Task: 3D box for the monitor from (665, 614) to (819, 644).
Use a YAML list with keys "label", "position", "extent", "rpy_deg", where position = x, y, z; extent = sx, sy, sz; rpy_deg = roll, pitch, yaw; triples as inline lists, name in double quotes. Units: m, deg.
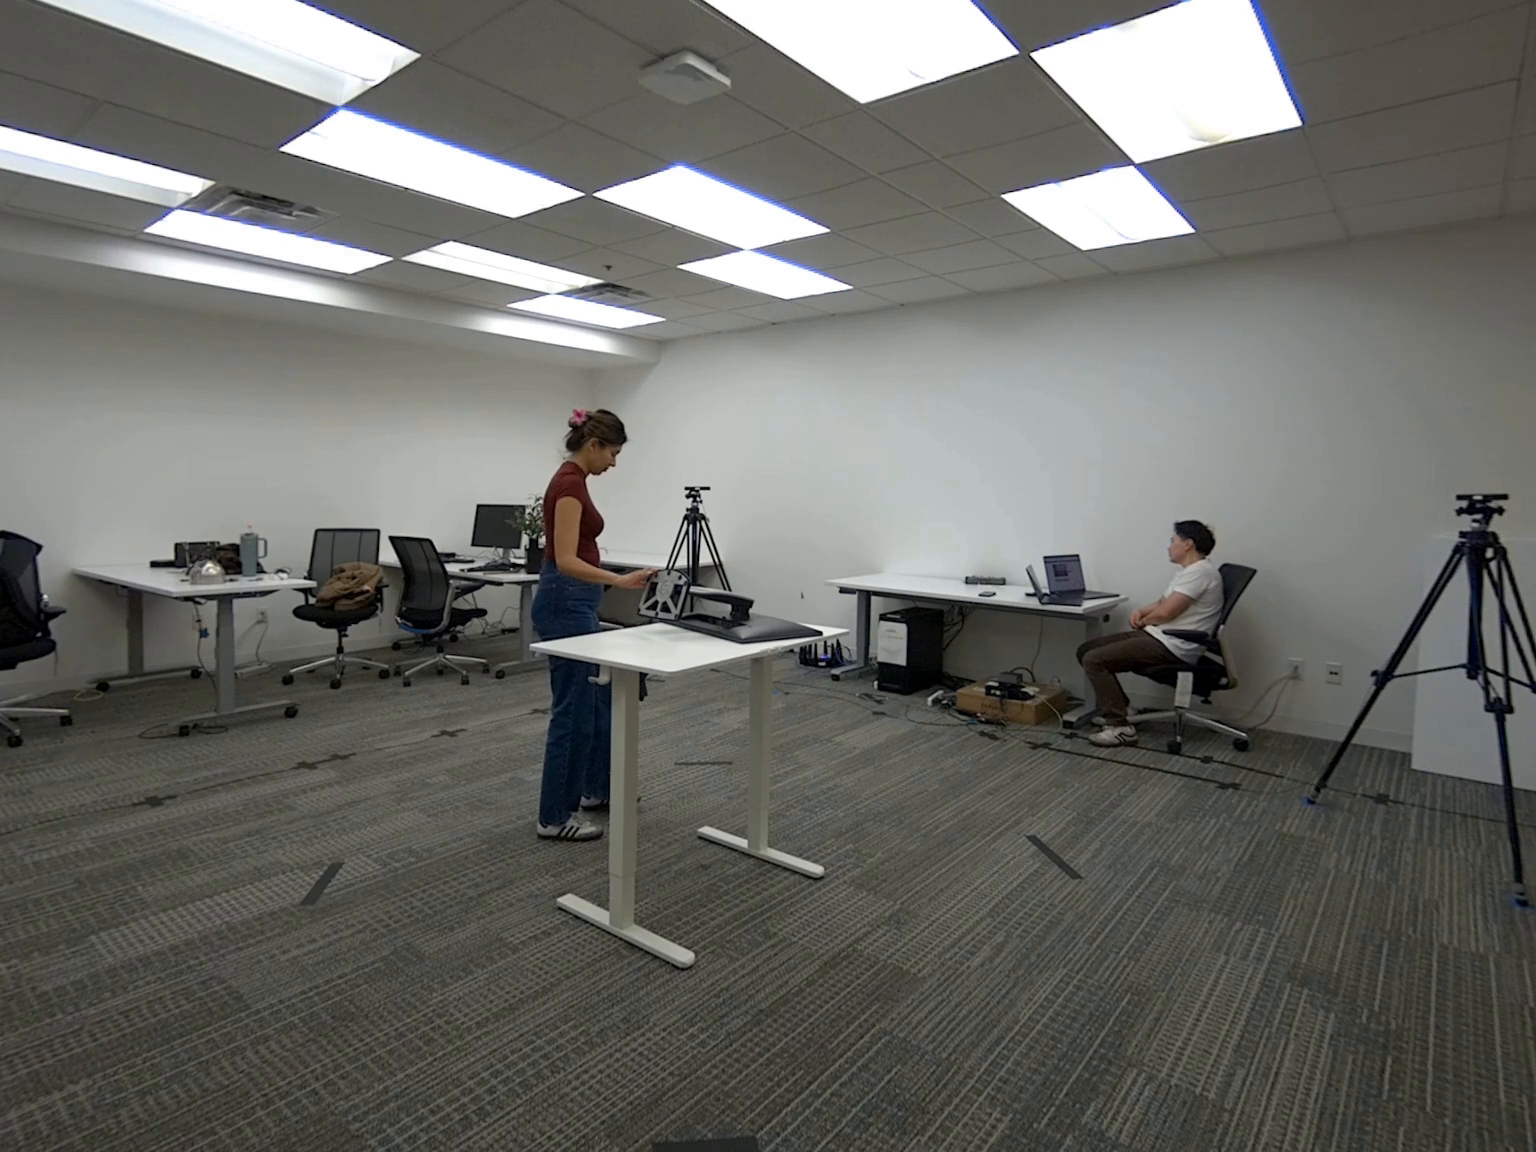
- label: "monitor"
  position: [-0.180, 0.124, 3.047]
  extent: [0.504, 0.188, 0.557]
  rpy_deg: [18, -5, -35]
